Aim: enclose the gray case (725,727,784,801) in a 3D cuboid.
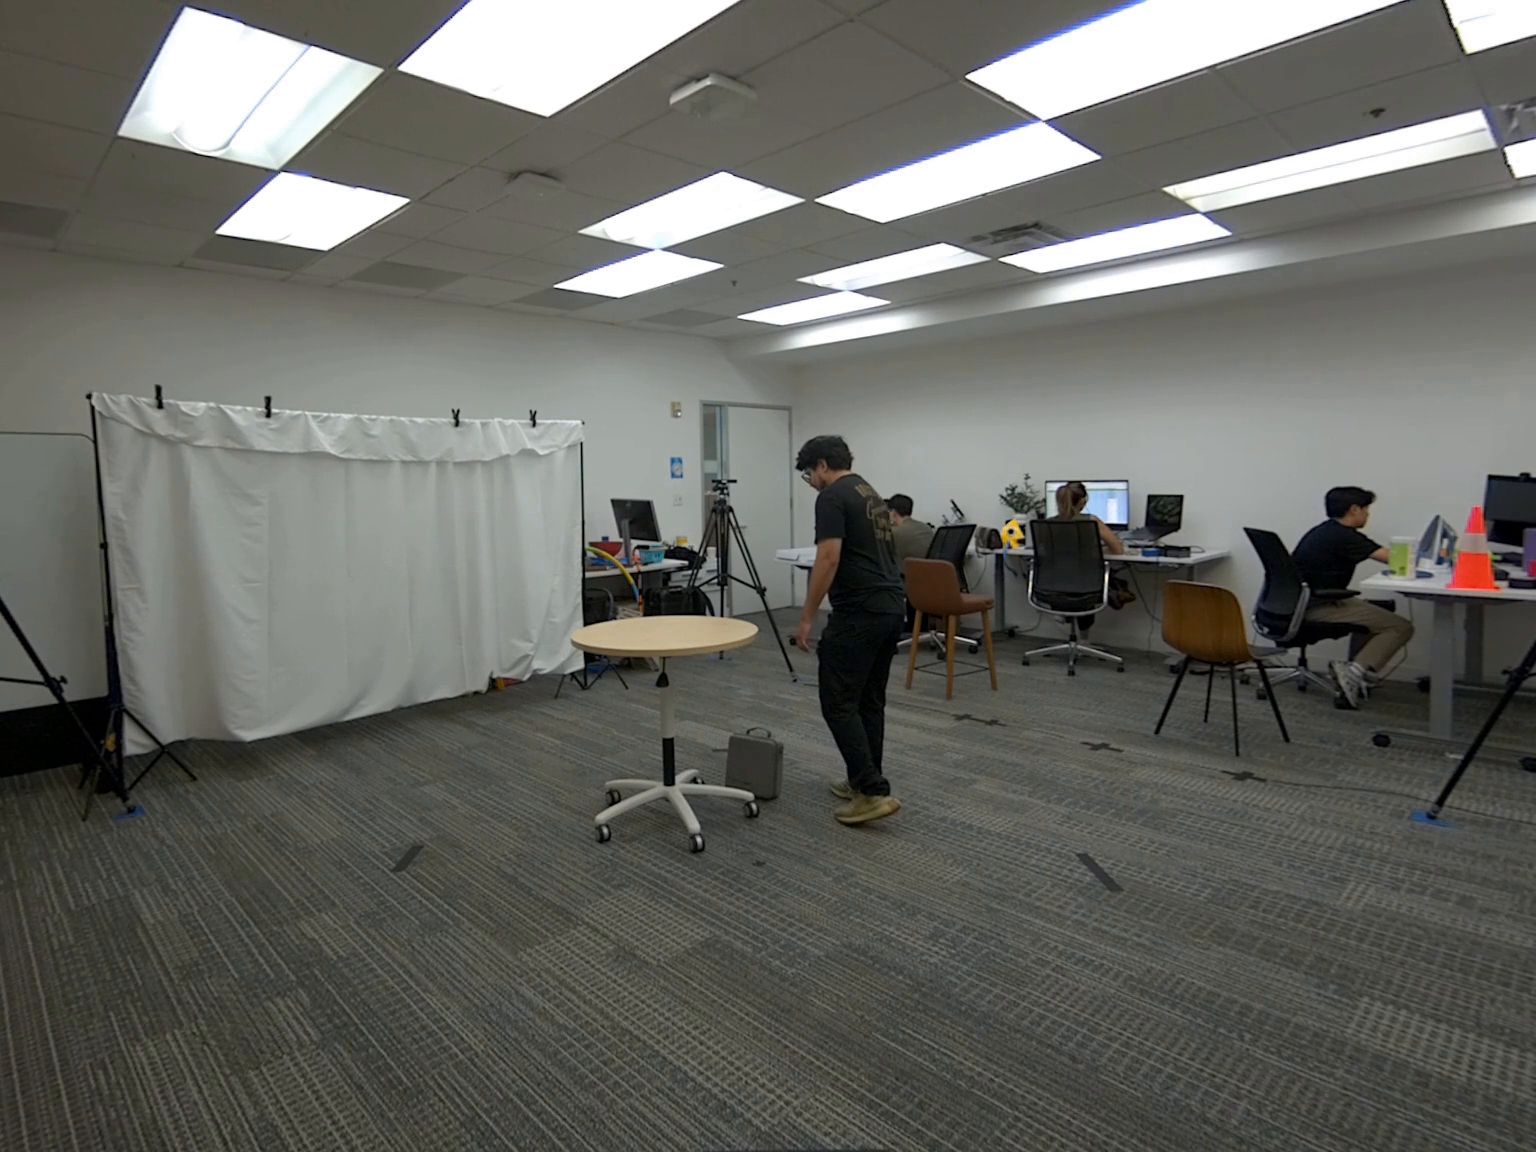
[{"bbox_3d":[-0.058,0.841,3.818,0.264,0.261,0.101,2,-4,36],"label":"gray case"}]
